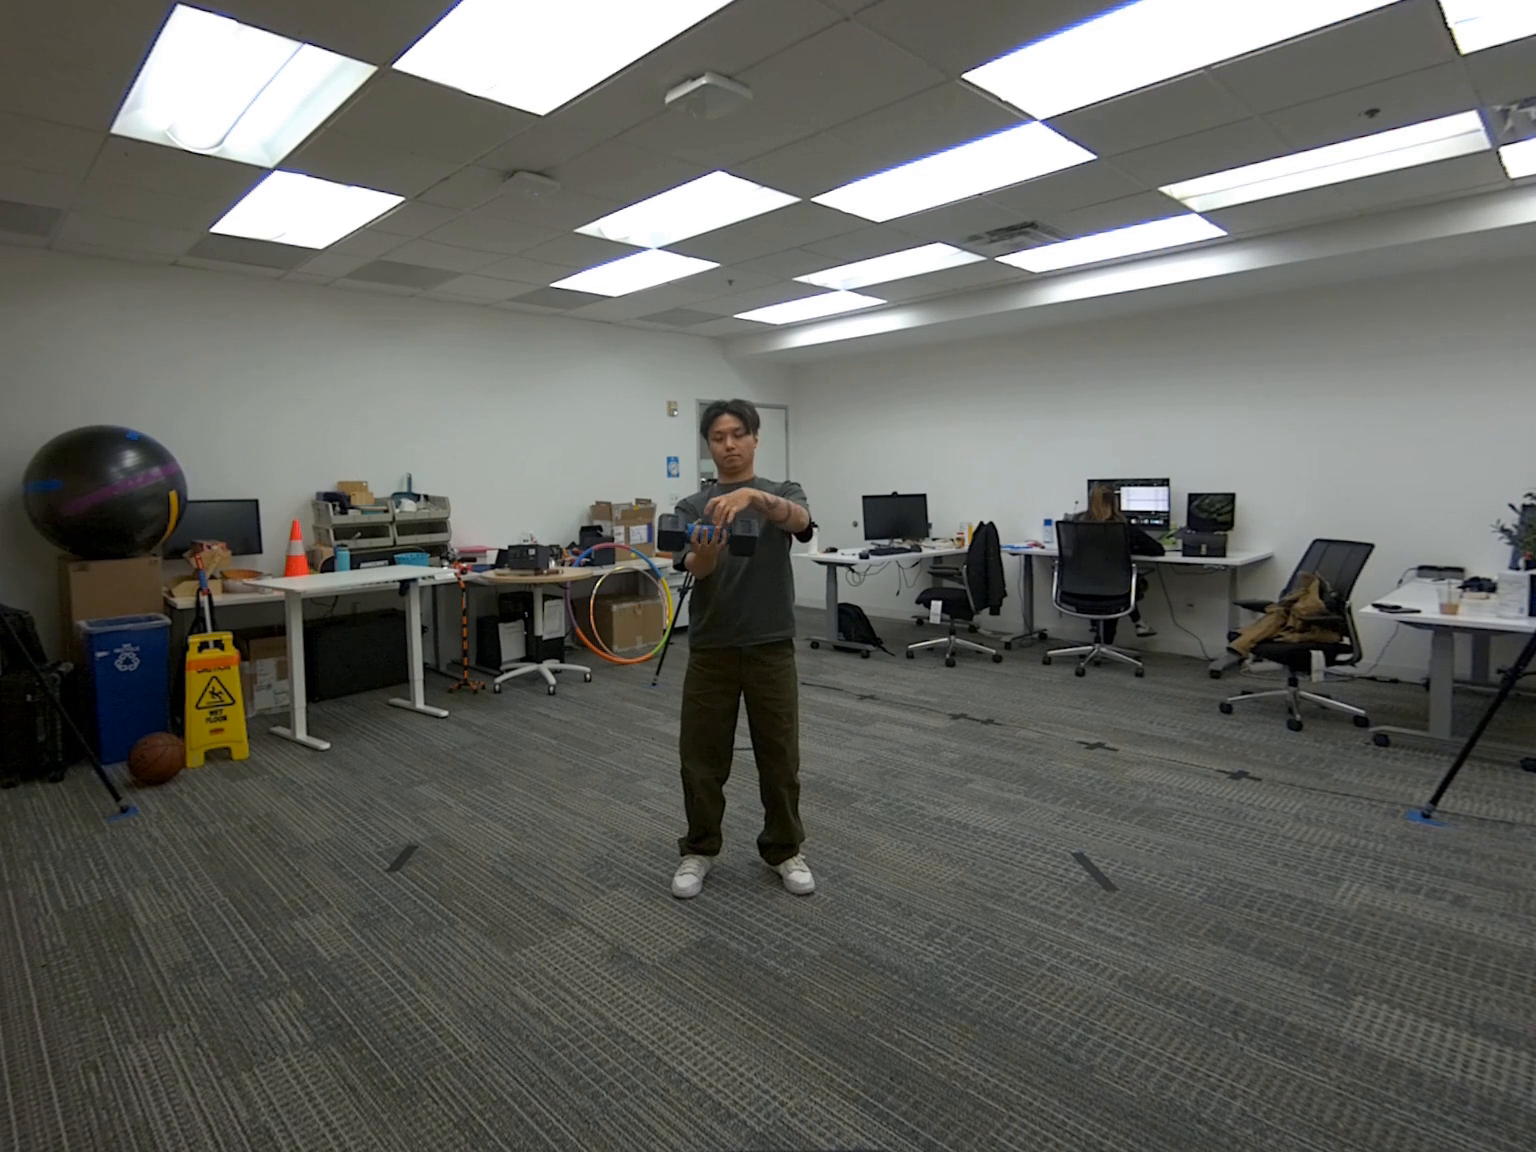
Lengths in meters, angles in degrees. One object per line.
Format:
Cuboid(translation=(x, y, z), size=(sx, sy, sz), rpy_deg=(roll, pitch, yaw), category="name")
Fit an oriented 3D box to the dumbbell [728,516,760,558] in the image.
Cuboid(translation=(-0.178, -0.118, 2.498), size=(0.292, 0.121, 0.111), rpy_deg=(4, 27, -5), category="dumbbell")
